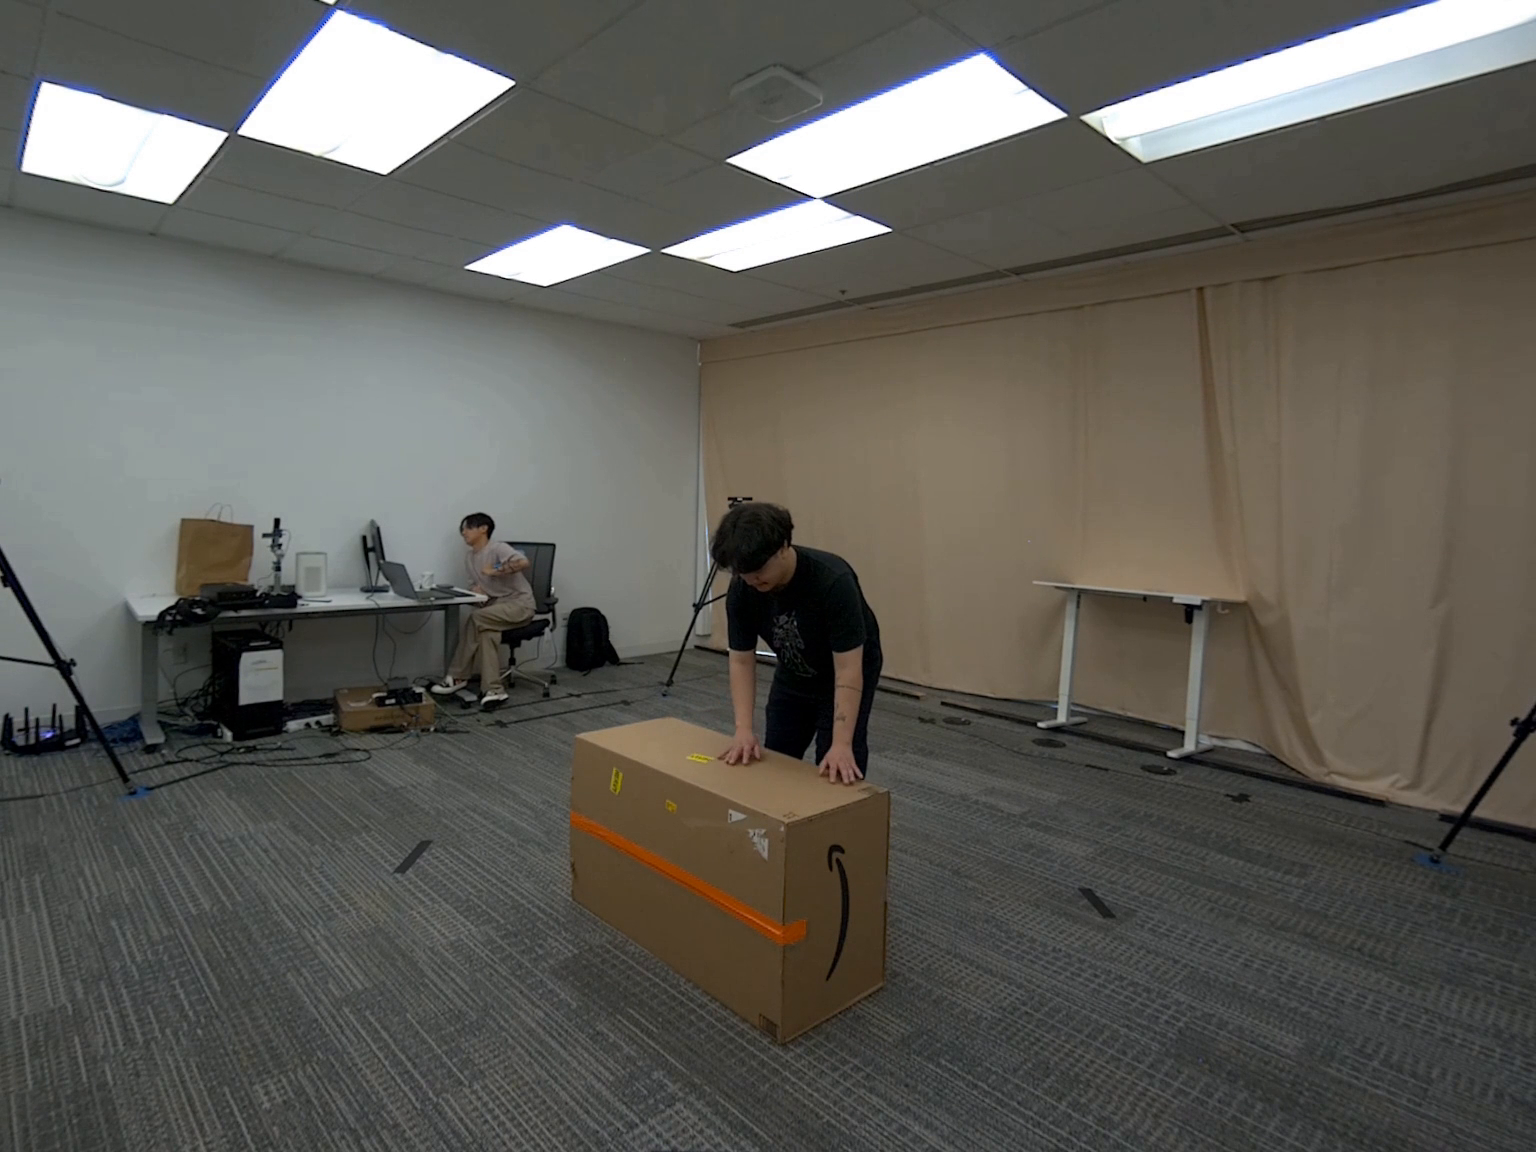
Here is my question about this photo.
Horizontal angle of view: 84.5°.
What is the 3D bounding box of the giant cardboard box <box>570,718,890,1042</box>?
[{"bbox_3d":[-0.173,0.865,2.640,0.437,0.582,1.053,-3,6,-43],"label":"giant cardboard box"}]
